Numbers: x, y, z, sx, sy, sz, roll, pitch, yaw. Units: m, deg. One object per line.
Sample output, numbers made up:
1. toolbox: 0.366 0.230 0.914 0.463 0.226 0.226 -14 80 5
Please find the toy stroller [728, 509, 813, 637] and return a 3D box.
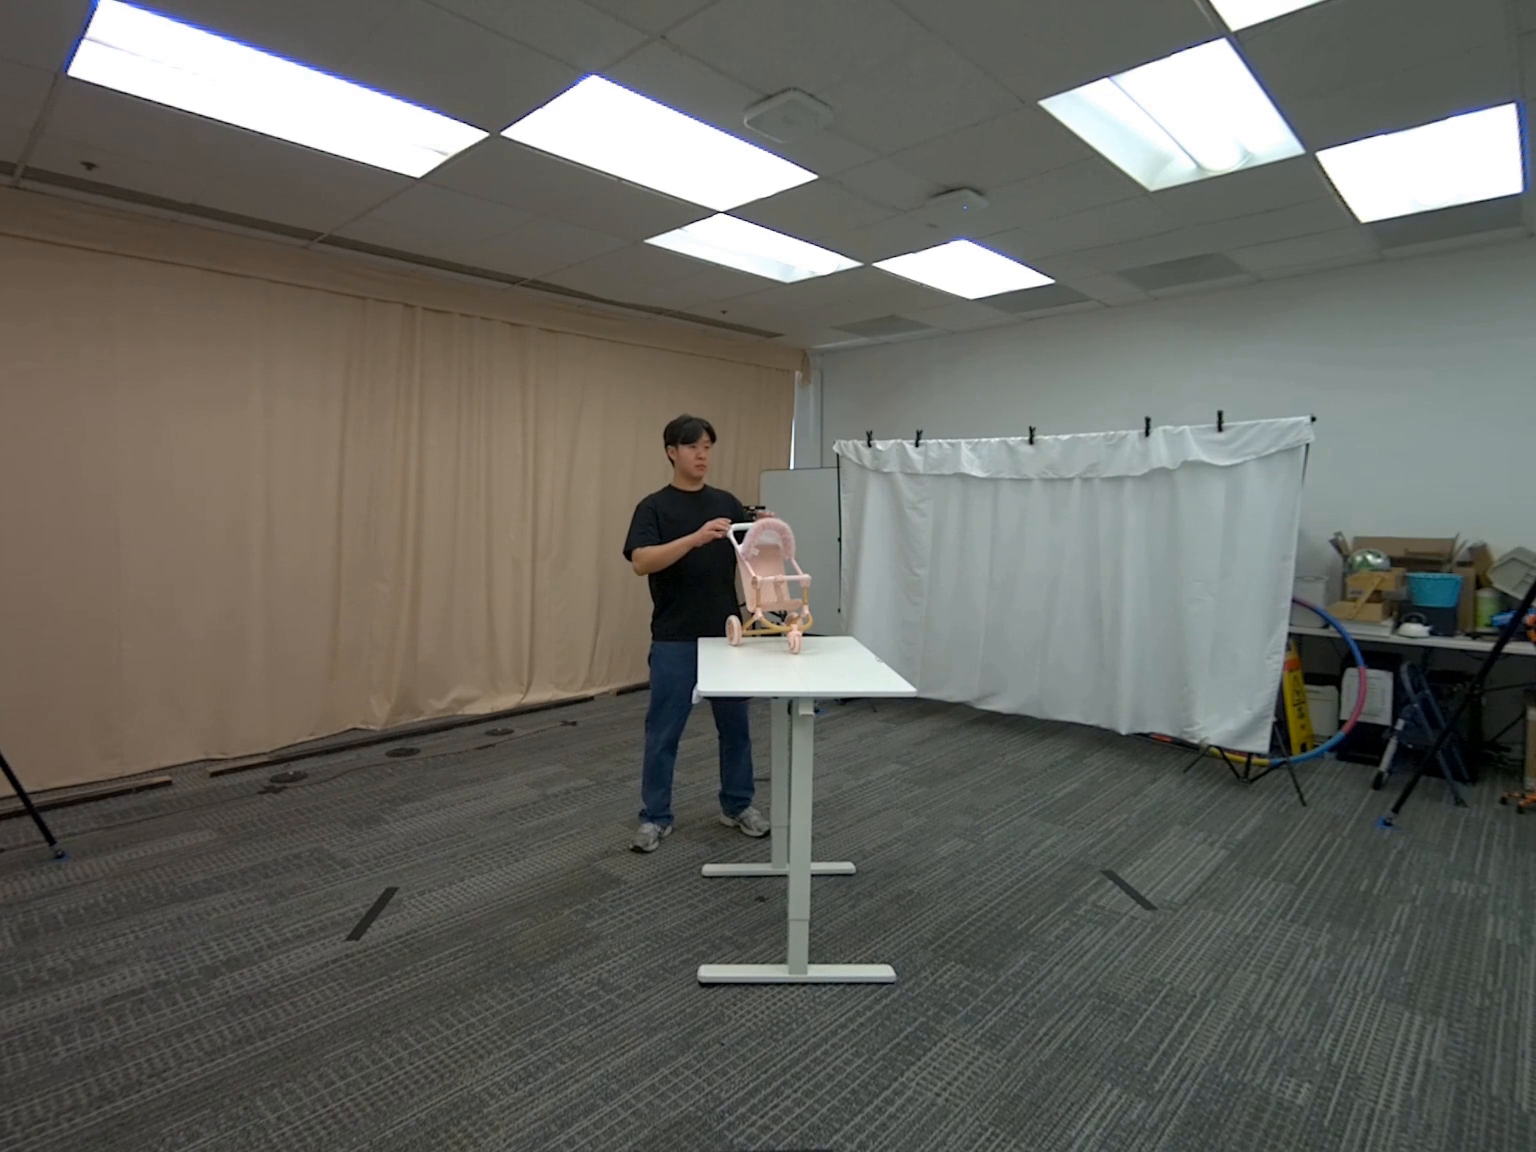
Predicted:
1. toy stroller: 0.019 0.031 3.058 0.276 0.539 0.345 -2 -11 -20
